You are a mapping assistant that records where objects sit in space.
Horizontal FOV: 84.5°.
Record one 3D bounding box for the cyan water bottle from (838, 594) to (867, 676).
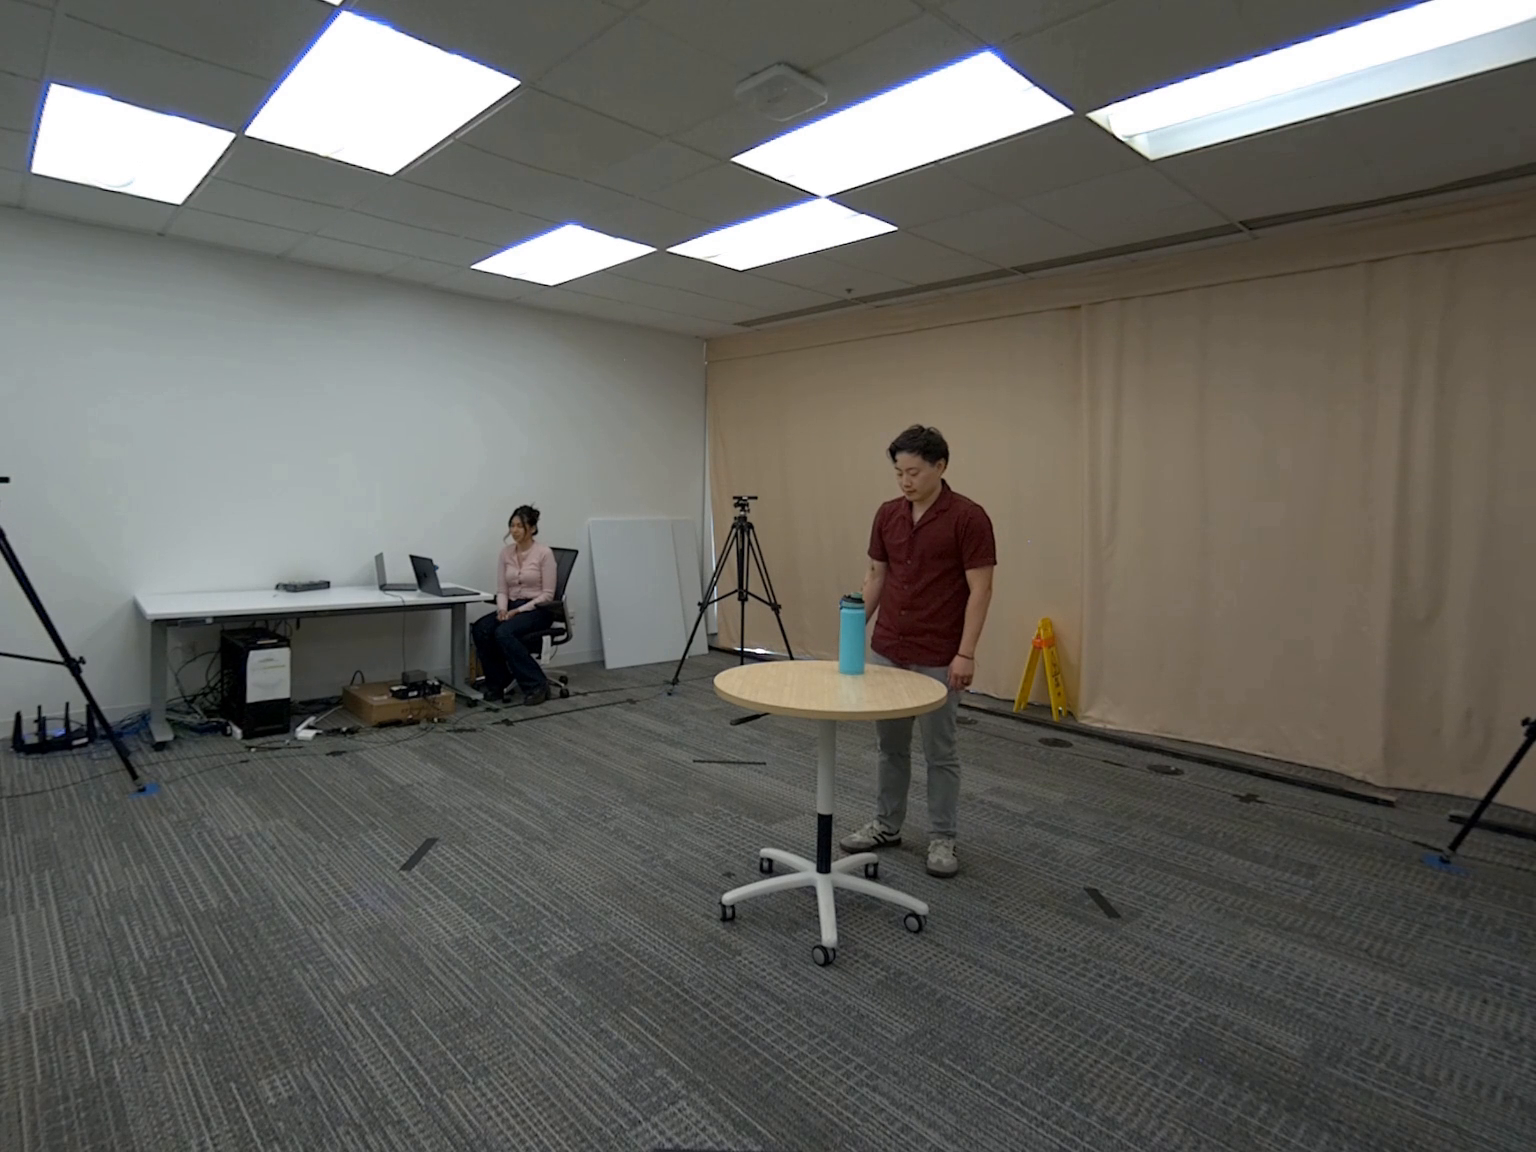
[{"bbox_3d":[0.292,0.202,2.970,0.092,0.282,0.093,0,5,-1],"label":"cyan water bottle"}]
